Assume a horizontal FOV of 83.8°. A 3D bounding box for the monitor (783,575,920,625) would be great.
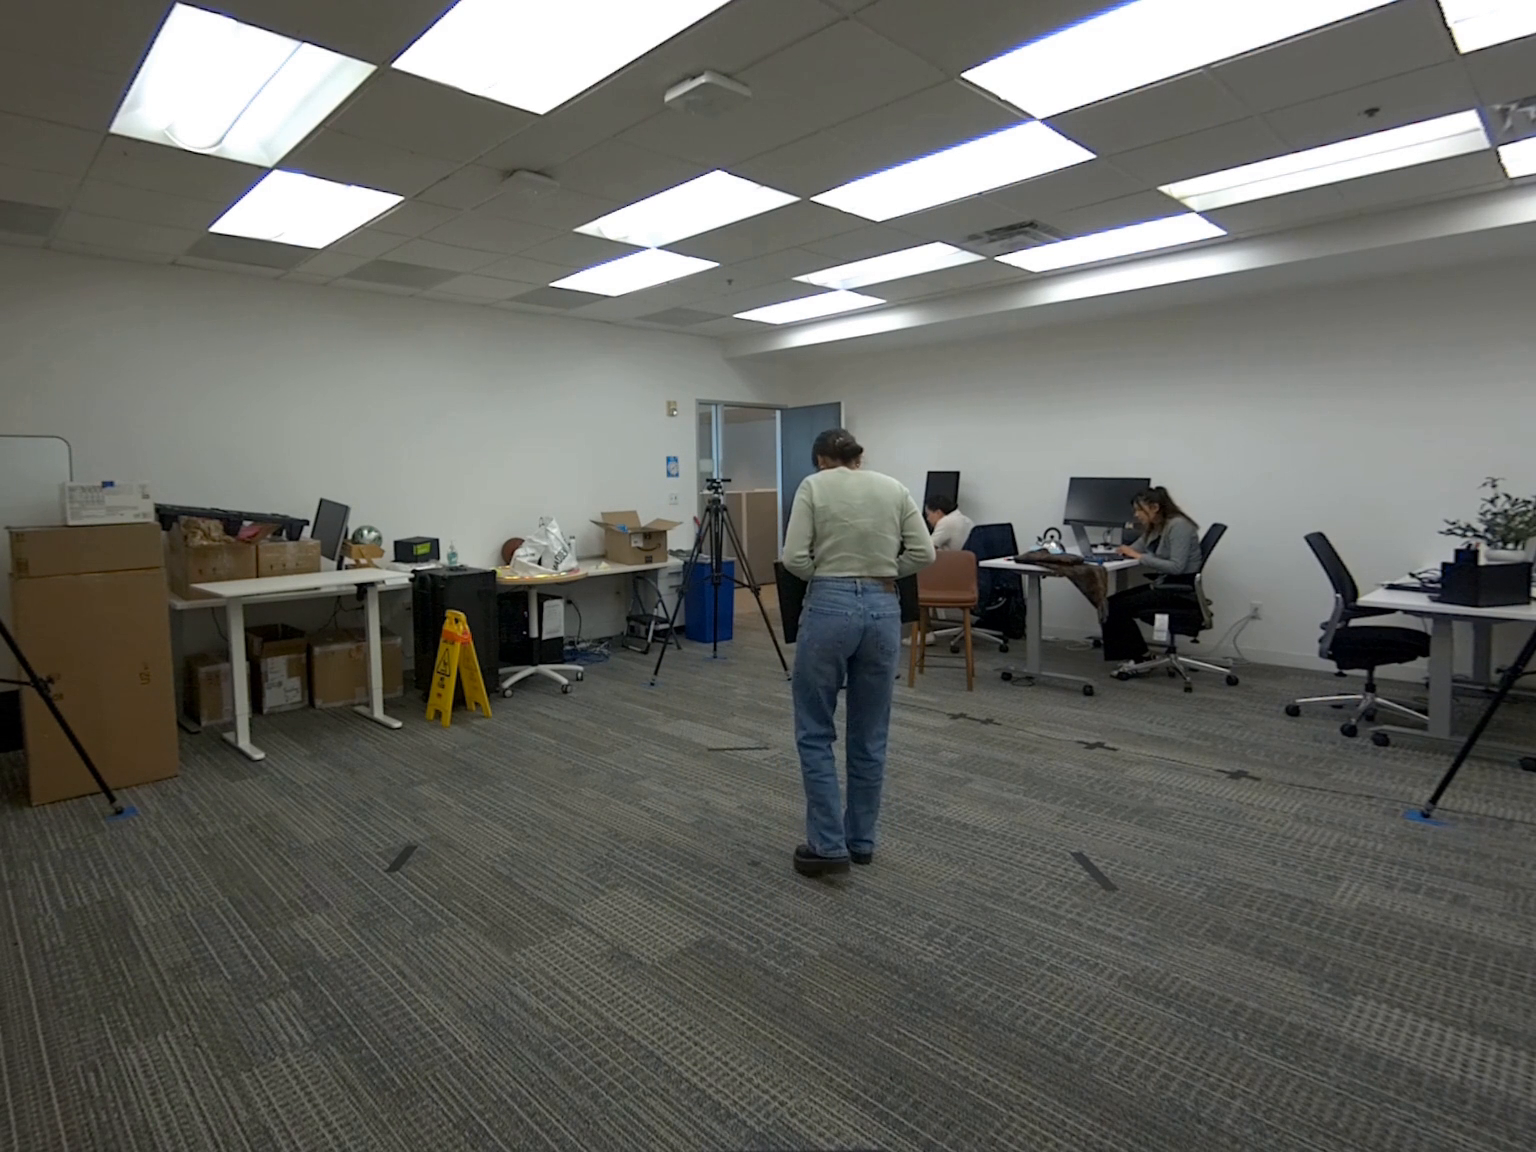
[{"bbox_3d":[0.323,0.152,3.240,0.529,0.515,0.175,-11,2,-2],"label":"monitor"}]
